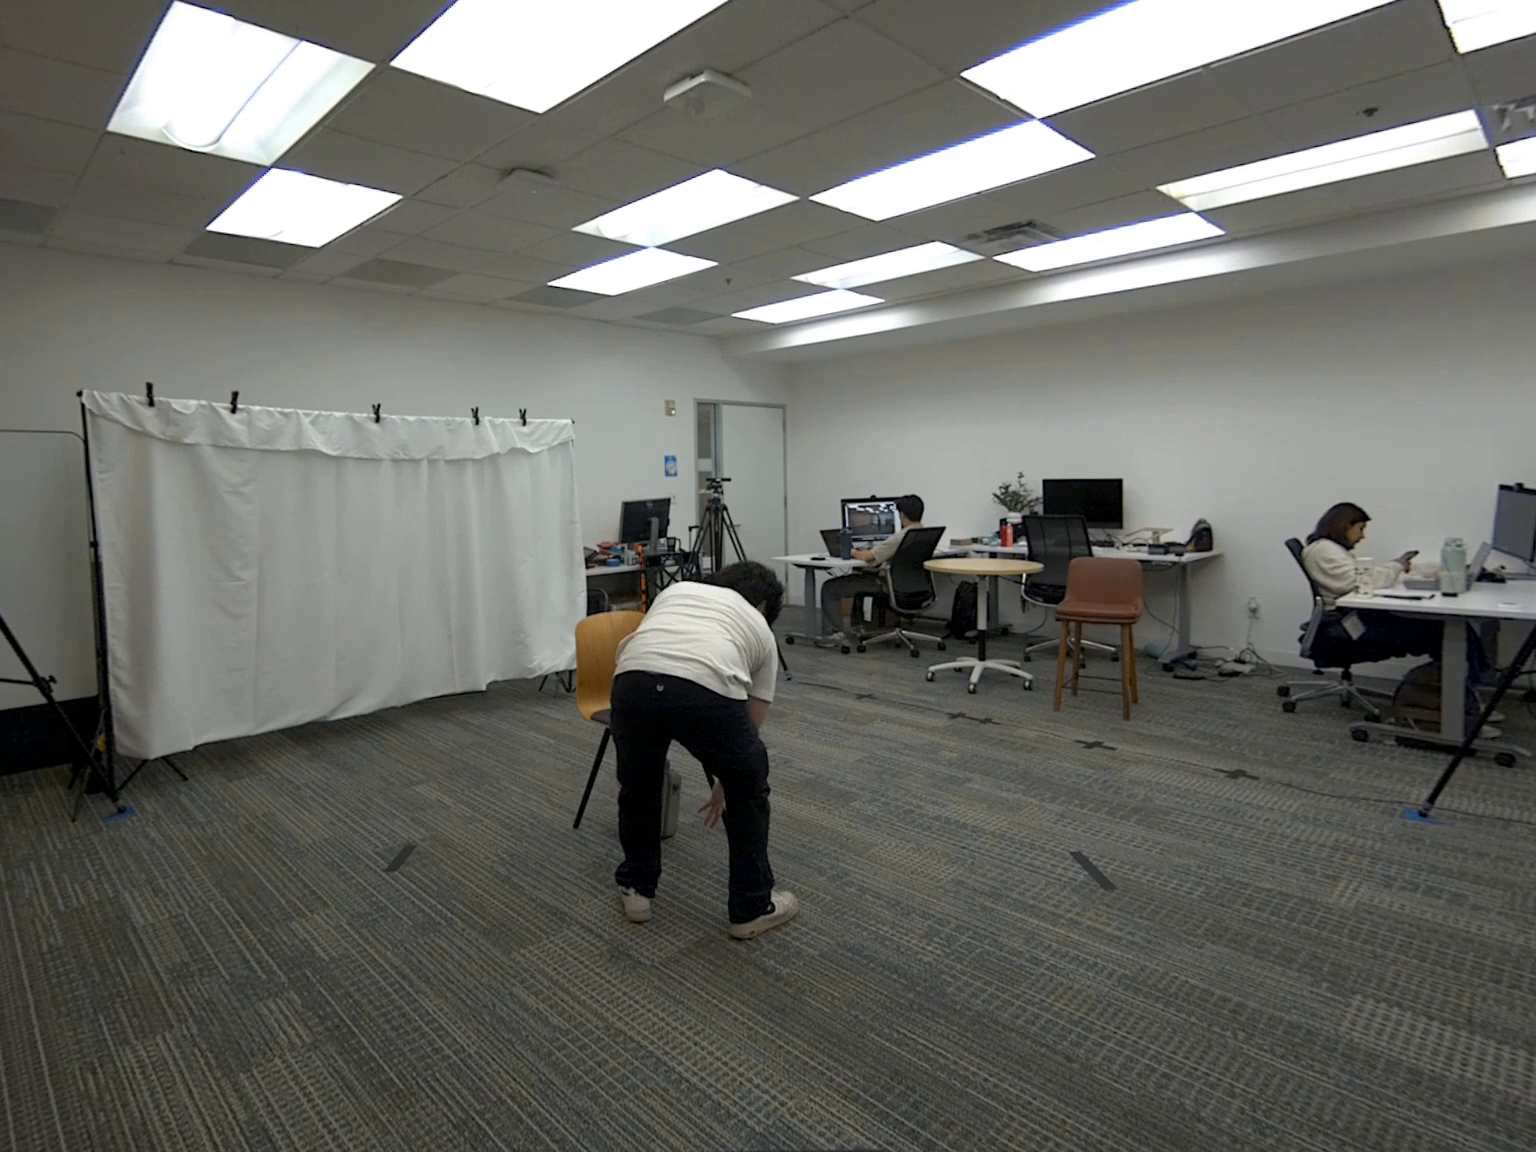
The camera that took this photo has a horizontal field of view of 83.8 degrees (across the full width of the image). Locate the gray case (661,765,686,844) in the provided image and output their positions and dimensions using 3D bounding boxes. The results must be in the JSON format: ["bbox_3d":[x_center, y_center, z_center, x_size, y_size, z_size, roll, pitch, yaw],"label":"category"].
[{"bbox_3d":[-0.460,0.887,3.412,0.101,0.261,0.265,7,-2,-41],"label":"gray case"}]
